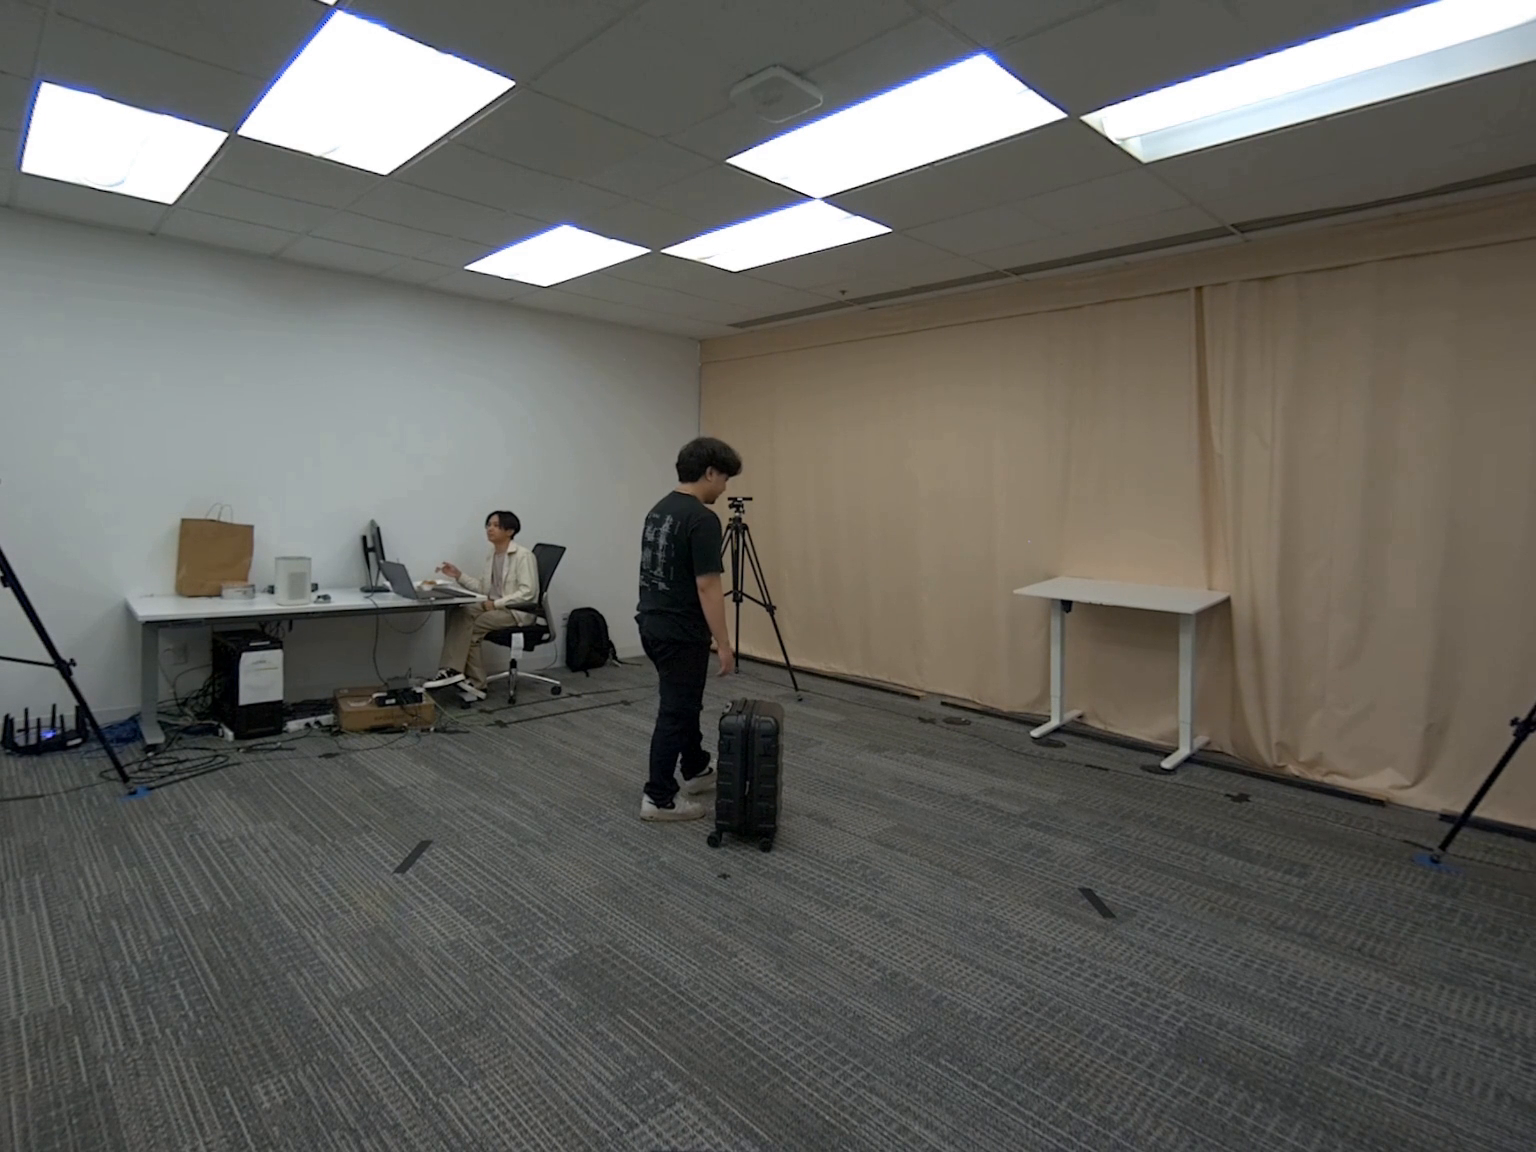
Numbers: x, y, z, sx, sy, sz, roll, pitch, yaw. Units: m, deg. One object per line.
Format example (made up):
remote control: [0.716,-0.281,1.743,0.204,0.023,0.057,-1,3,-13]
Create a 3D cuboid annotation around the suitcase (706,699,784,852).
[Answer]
suitcase: [-0.082,0.798,3.489,0.249,0.548,0.374,3,3,4]
